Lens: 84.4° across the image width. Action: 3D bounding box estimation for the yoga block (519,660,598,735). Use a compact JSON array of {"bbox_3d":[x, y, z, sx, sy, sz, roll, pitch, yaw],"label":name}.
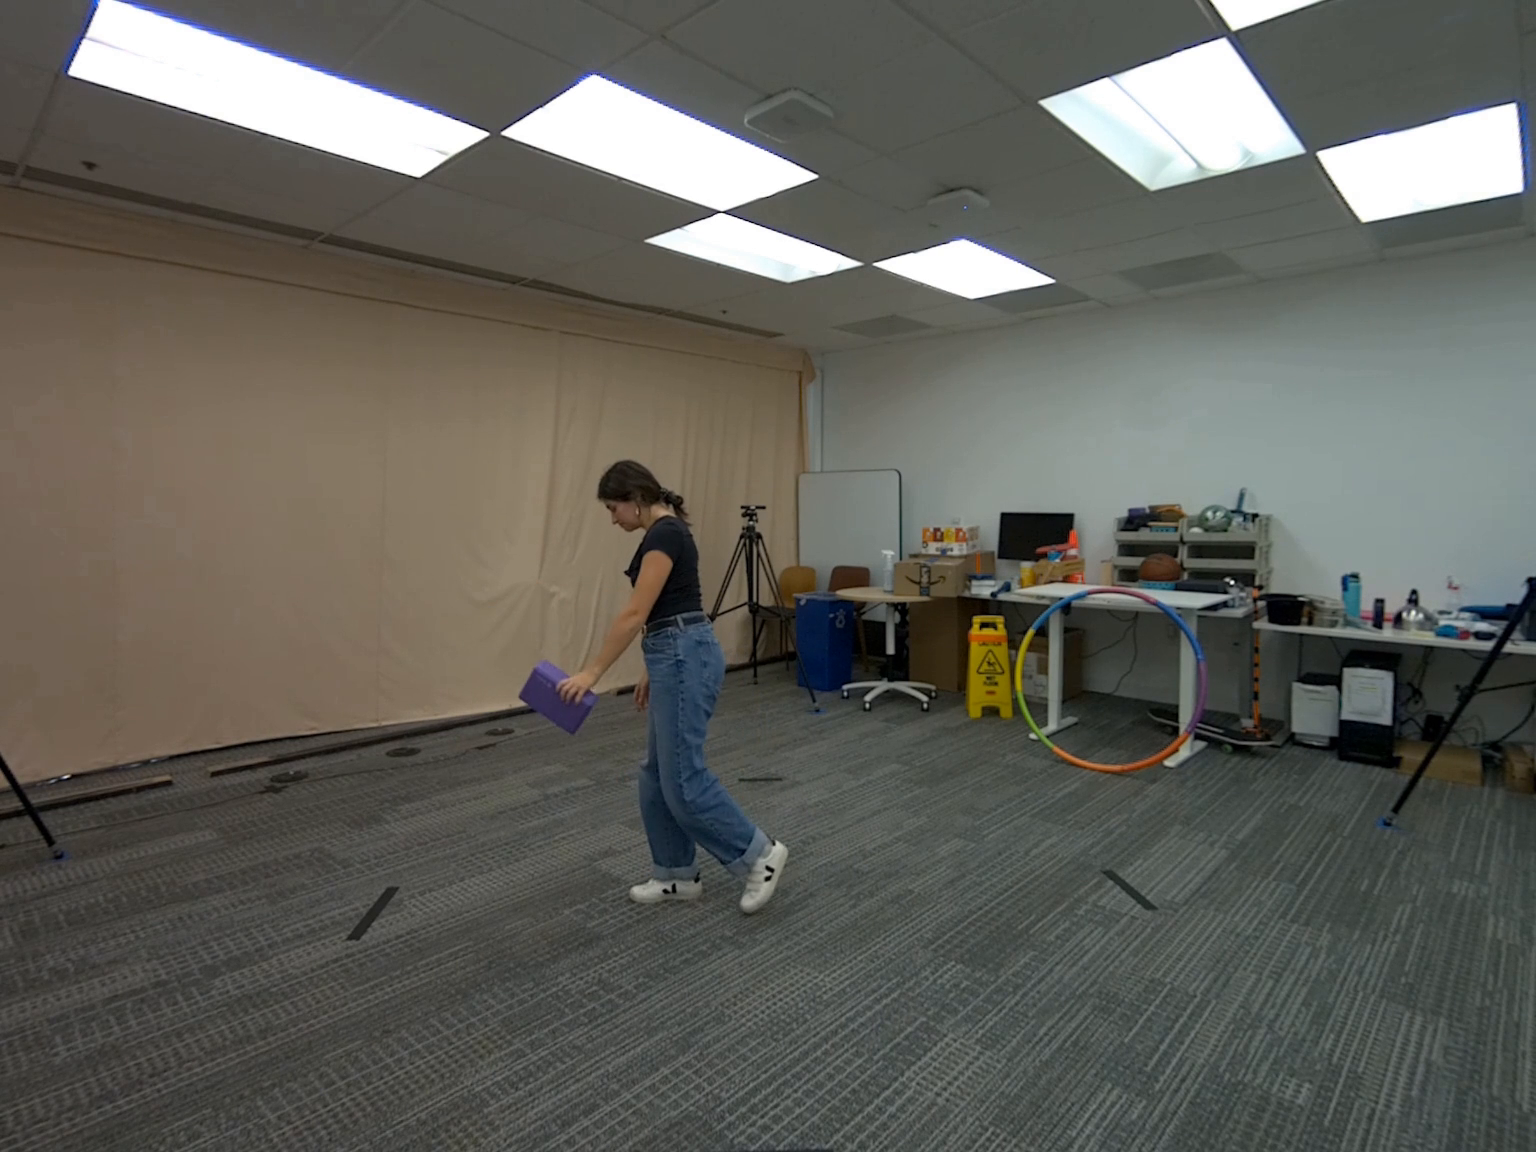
[{"bbox_3d":[-0.718,0.398,2.818,0.229,0.149,0.076,35,29,-1],"label":"yoga block"}]
